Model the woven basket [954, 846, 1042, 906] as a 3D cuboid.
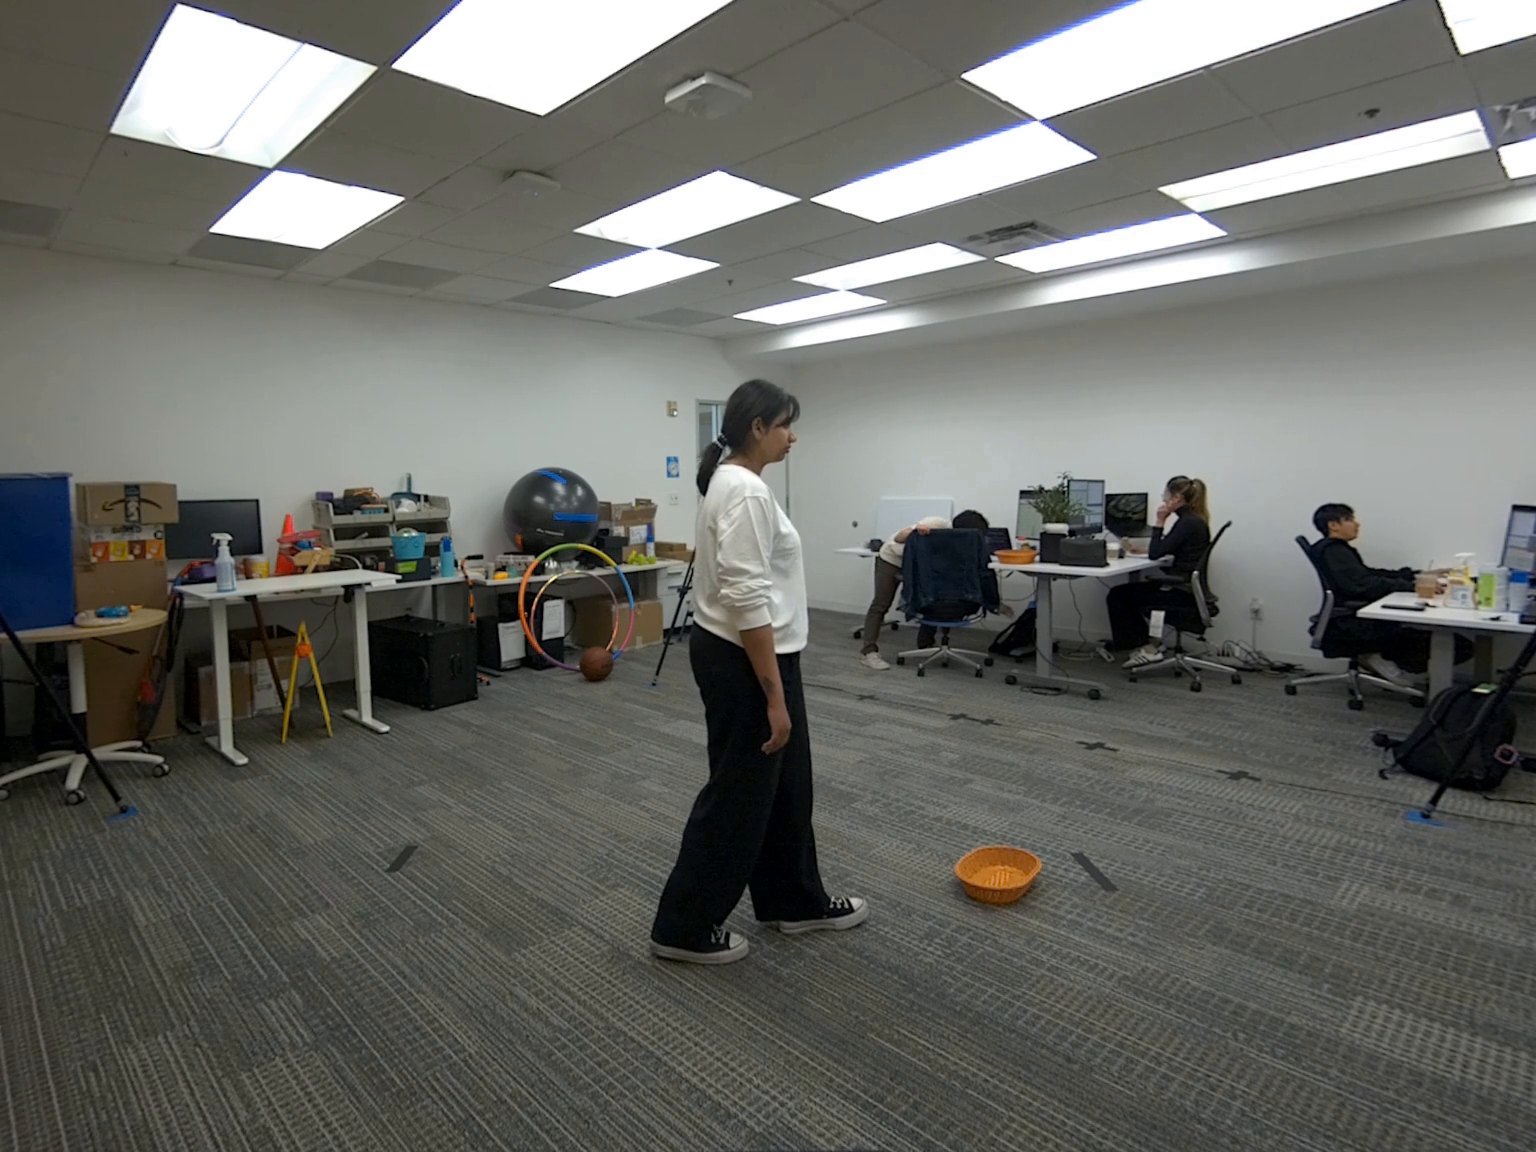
[{"bbox_3d":[0.781,1.012,2.909,0.260,0.073,0.342,3,8,39],"label":"woven basket"}]
